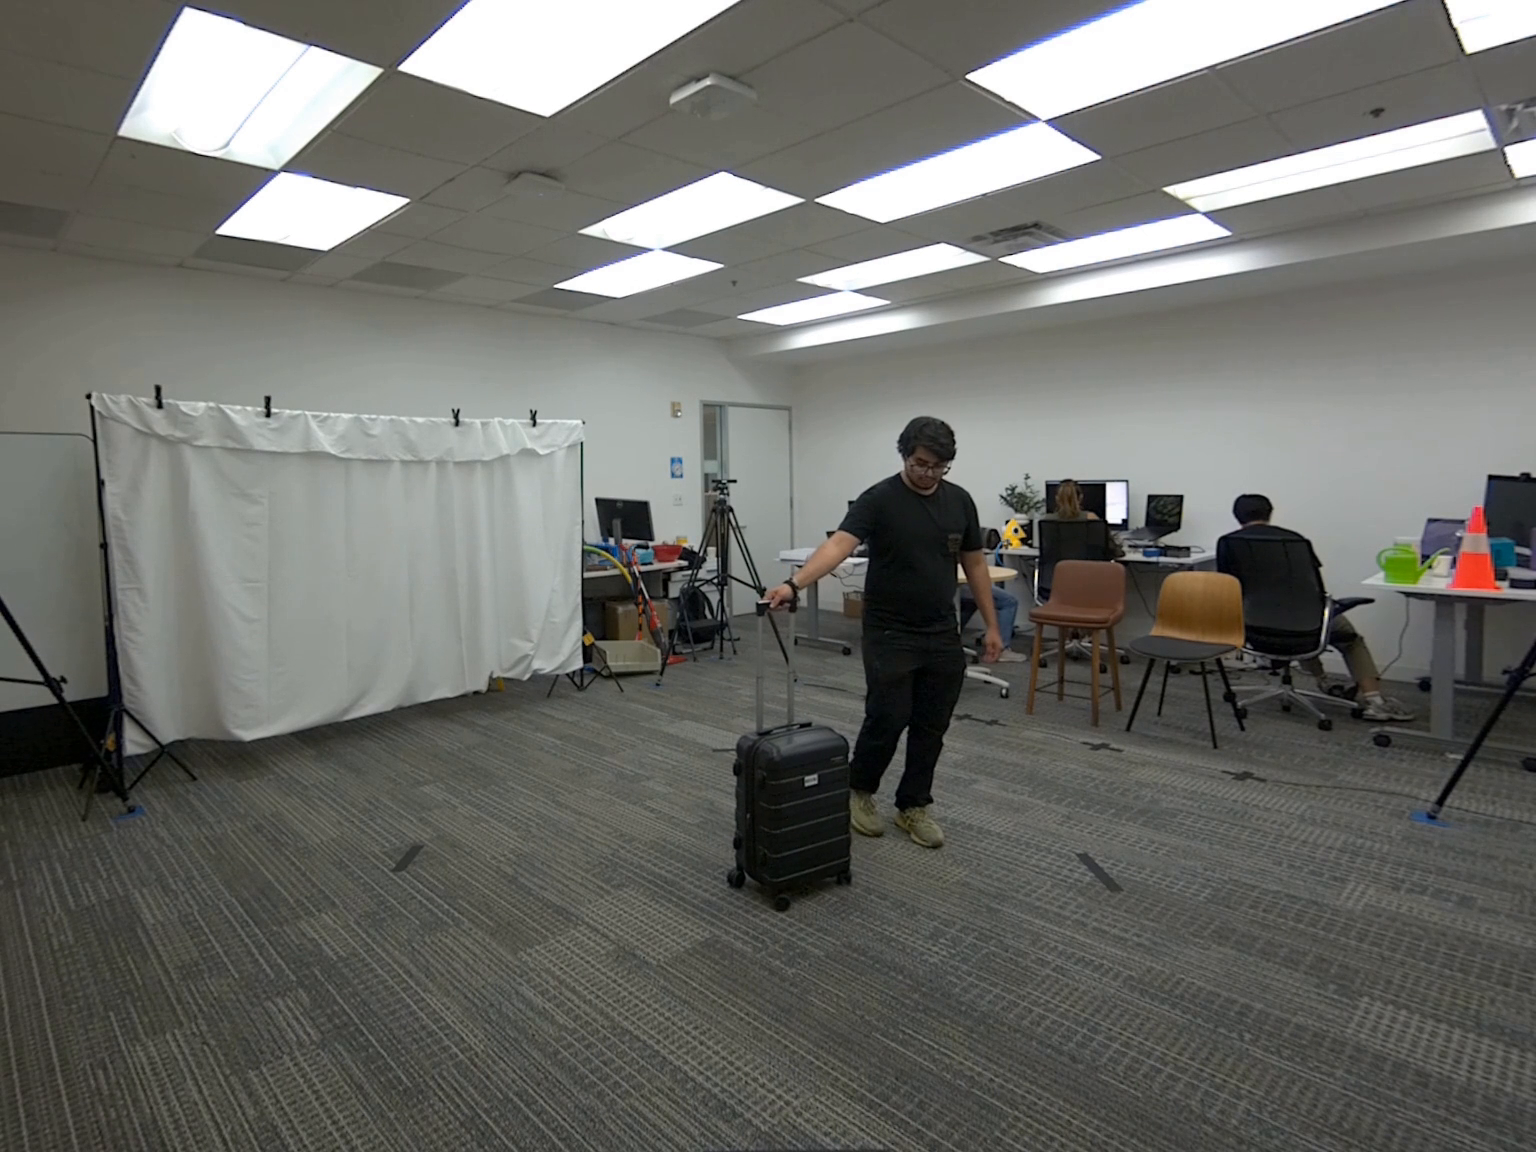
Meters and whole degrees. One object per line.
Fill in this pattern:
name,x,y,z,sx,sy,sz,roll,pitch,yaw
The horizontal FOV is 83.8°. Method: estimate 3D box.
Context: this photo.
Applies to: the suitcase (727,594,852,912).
suitcase,0.086,0.592,2.901,0.375,0.973,0.265,-4,8,-33
